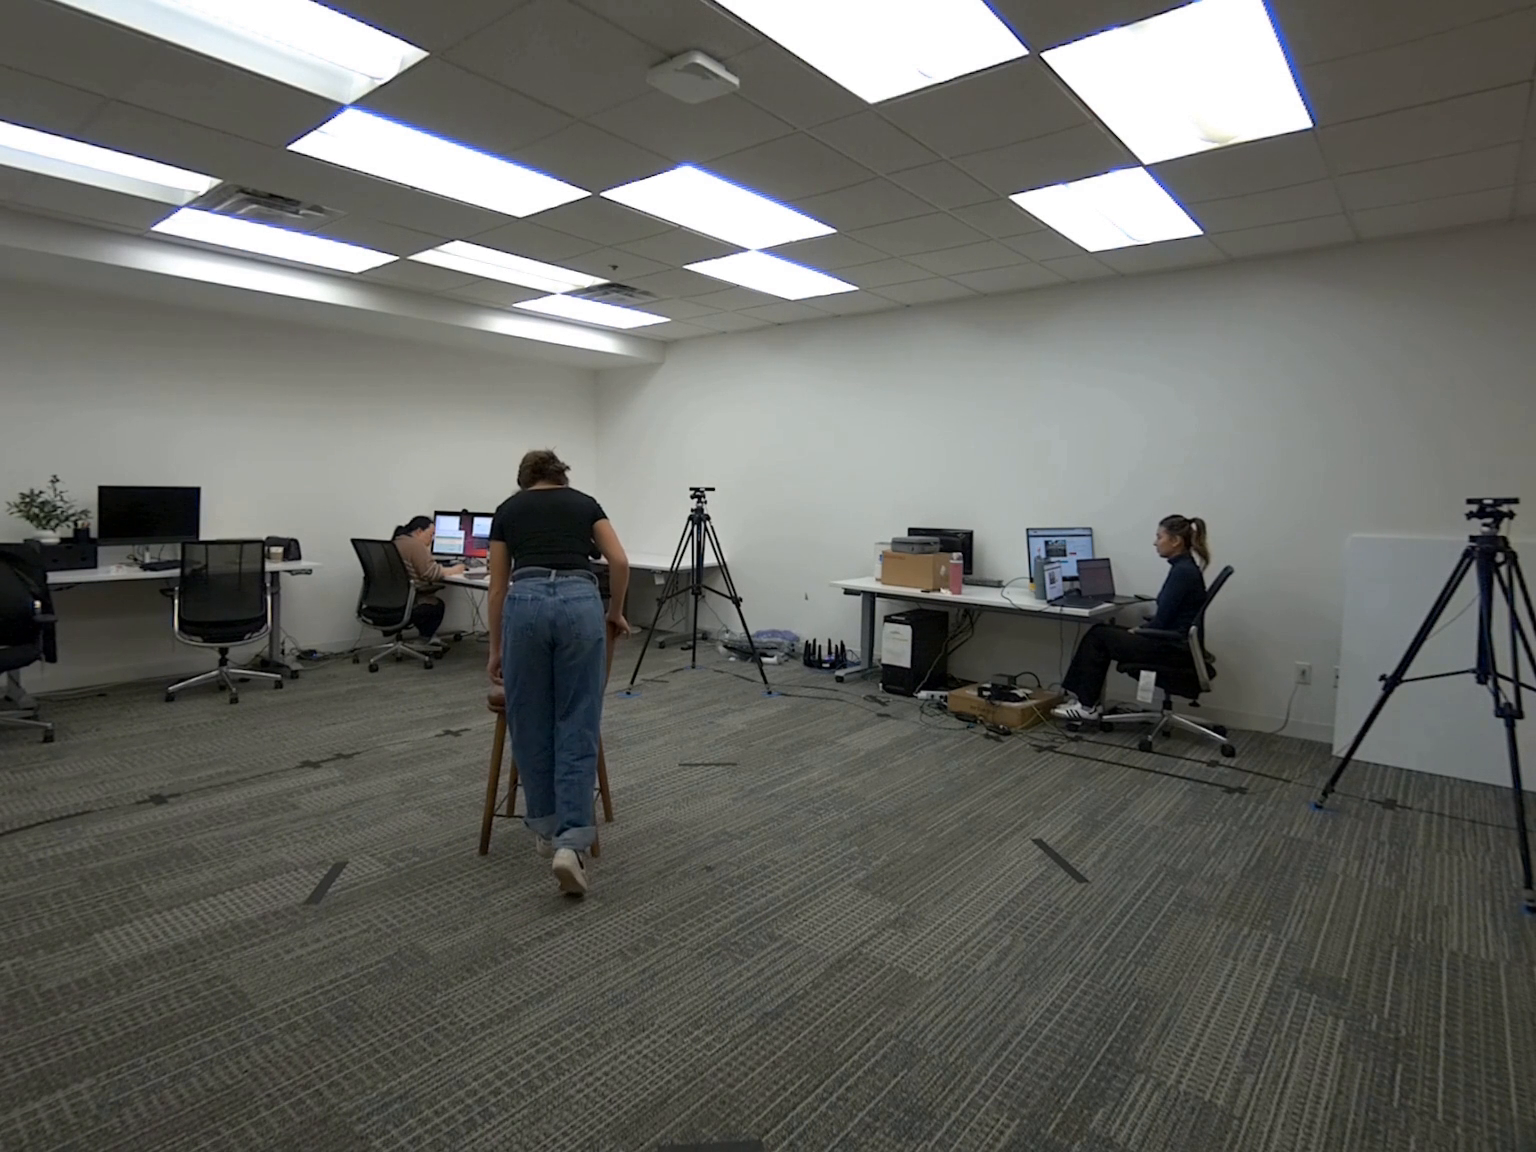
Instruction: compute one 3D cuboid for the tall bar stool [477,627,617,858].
[{"bbox_3d":[-0.864,0.592,3.360,0.468,0.887,0.457,3,3,0],"label":"tall bar stool"}]
